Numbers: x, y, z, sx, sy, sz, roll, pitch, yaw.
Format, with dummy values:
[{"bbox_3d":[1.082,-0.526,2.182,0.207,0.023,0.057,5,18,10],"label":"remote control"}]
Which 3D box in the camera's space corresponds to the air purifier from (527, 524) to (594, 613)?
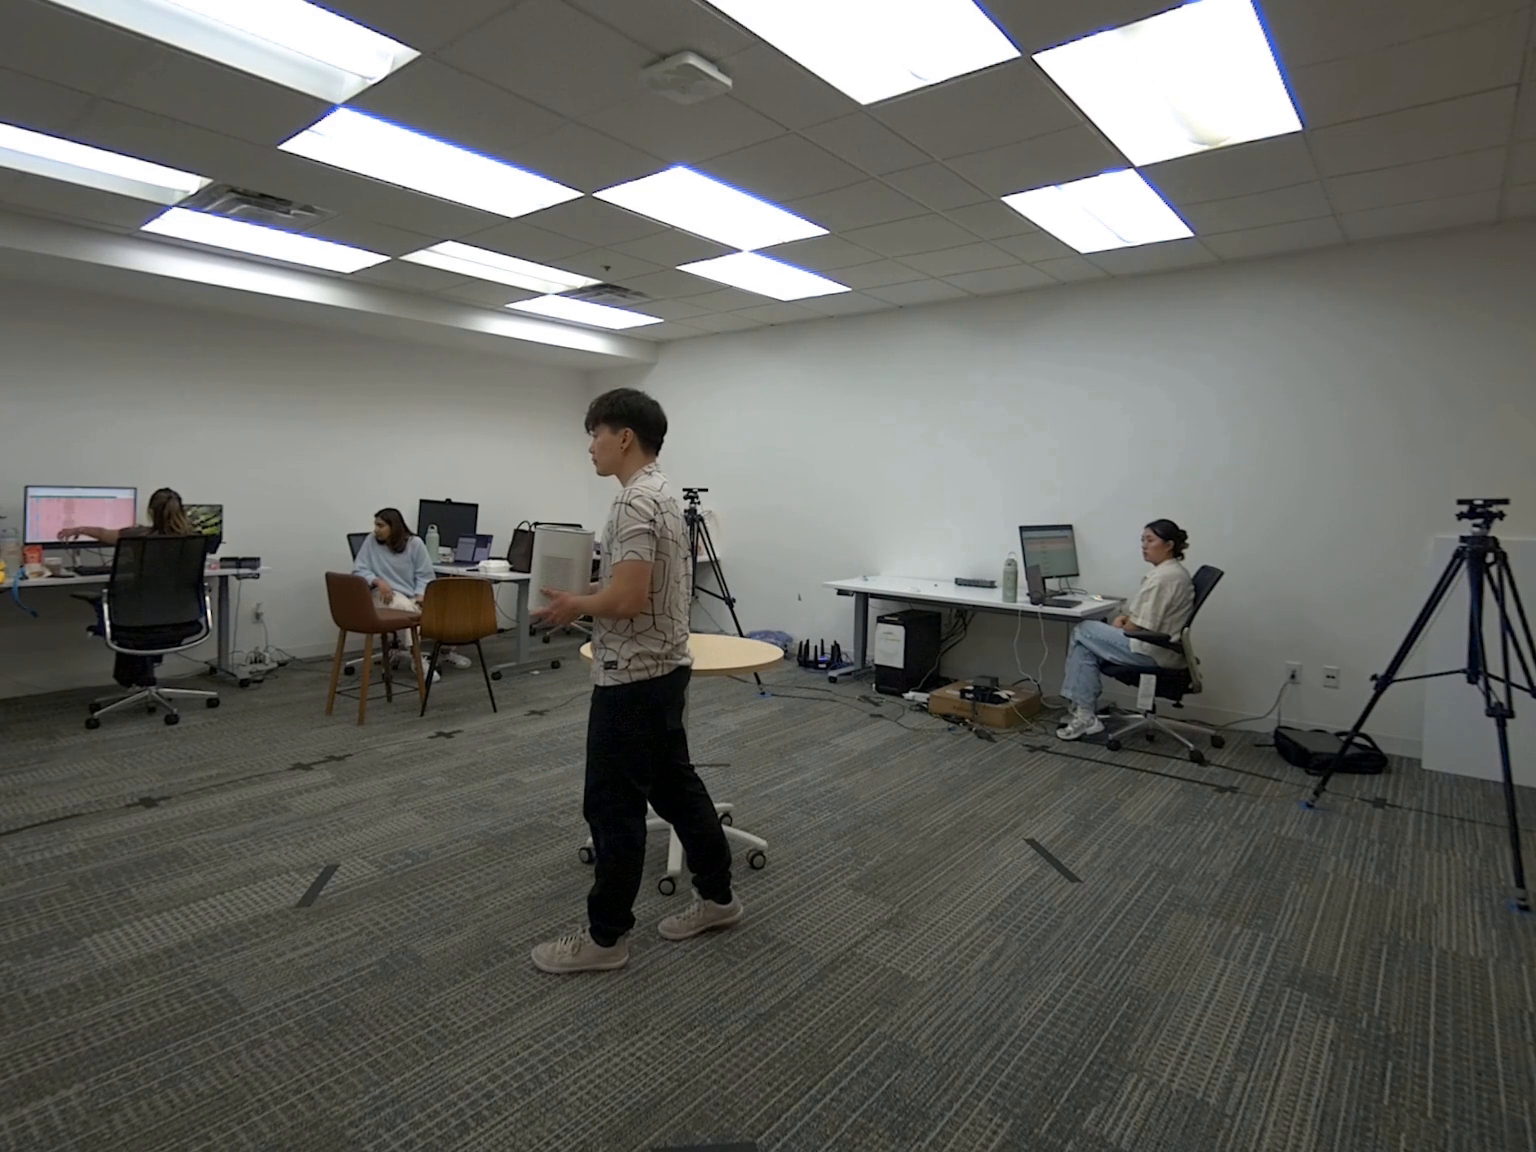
[{"bbox_3d":[-0.630,-0.014,2.552,0.171,0.264,0.172,5,4,-4],"label":"air purifier"}]
